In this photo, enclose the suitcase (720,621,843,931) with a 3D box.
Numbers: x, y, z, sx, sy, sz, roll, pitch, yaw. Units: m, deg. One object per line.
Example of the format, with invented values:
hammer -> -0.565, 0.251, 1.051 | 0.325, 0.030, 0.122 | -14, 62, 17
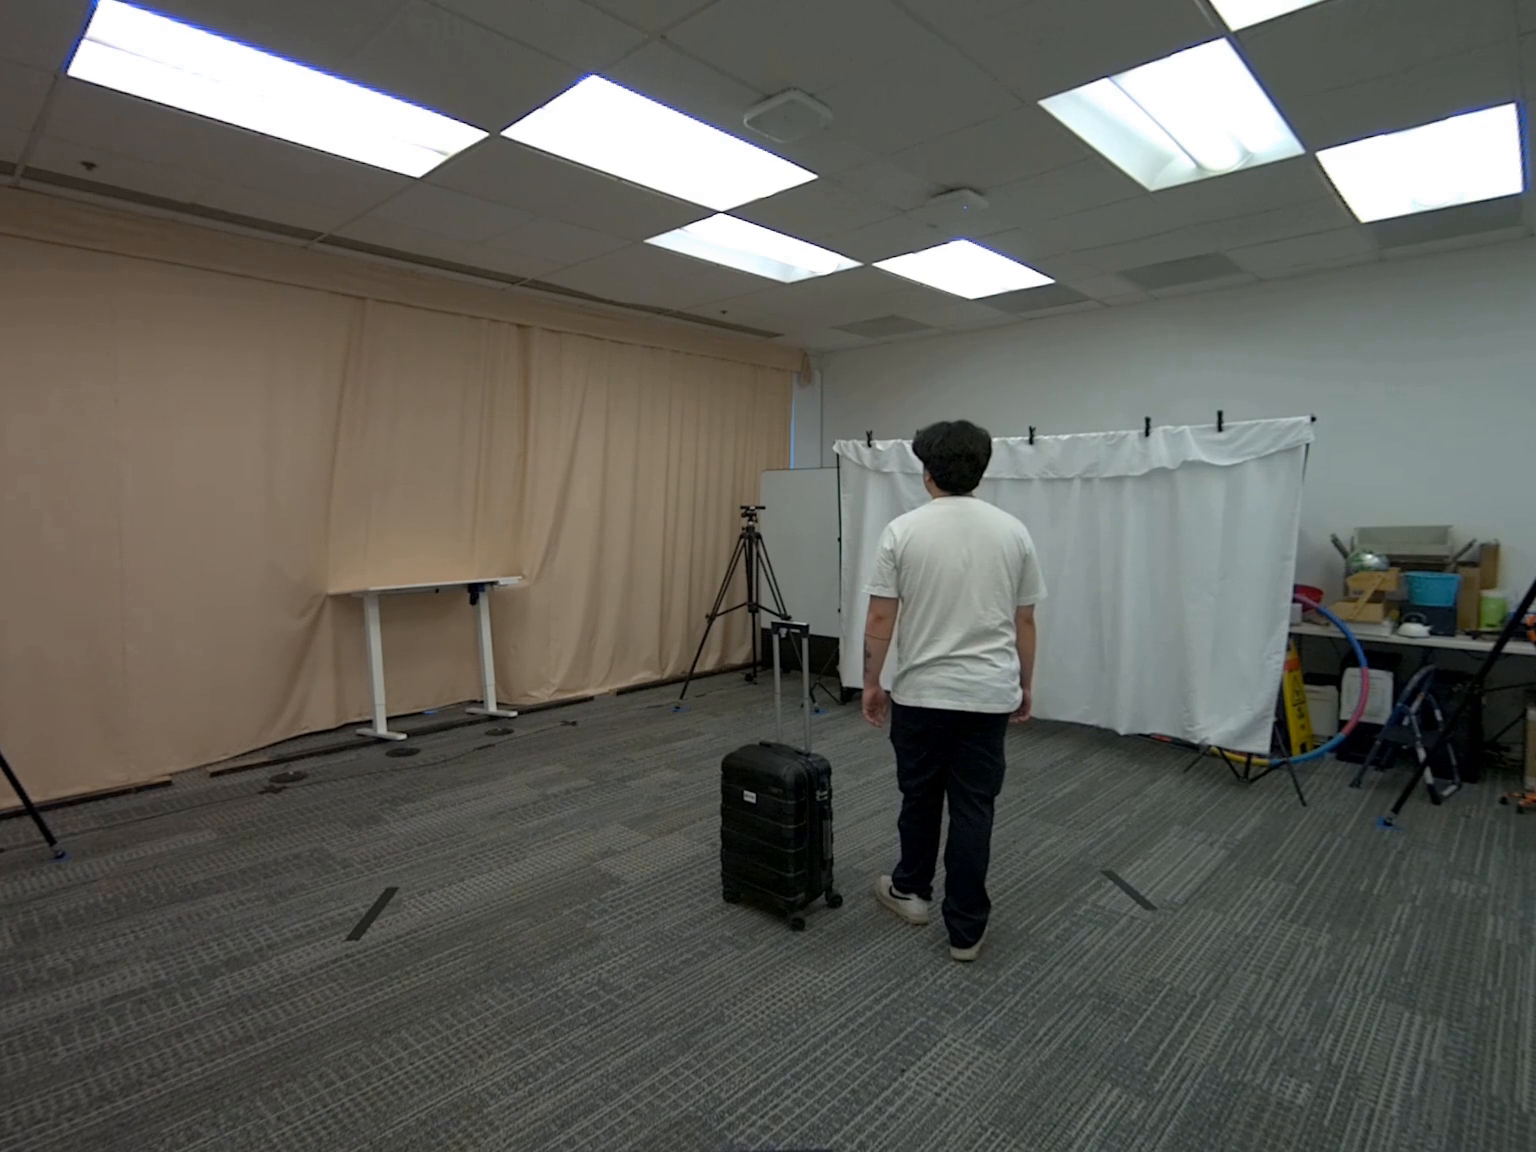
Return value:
suitcase -> 0.028, 0.672, 2.921 | 0.397, 0.975, 0.249 | 2, 7, 42
